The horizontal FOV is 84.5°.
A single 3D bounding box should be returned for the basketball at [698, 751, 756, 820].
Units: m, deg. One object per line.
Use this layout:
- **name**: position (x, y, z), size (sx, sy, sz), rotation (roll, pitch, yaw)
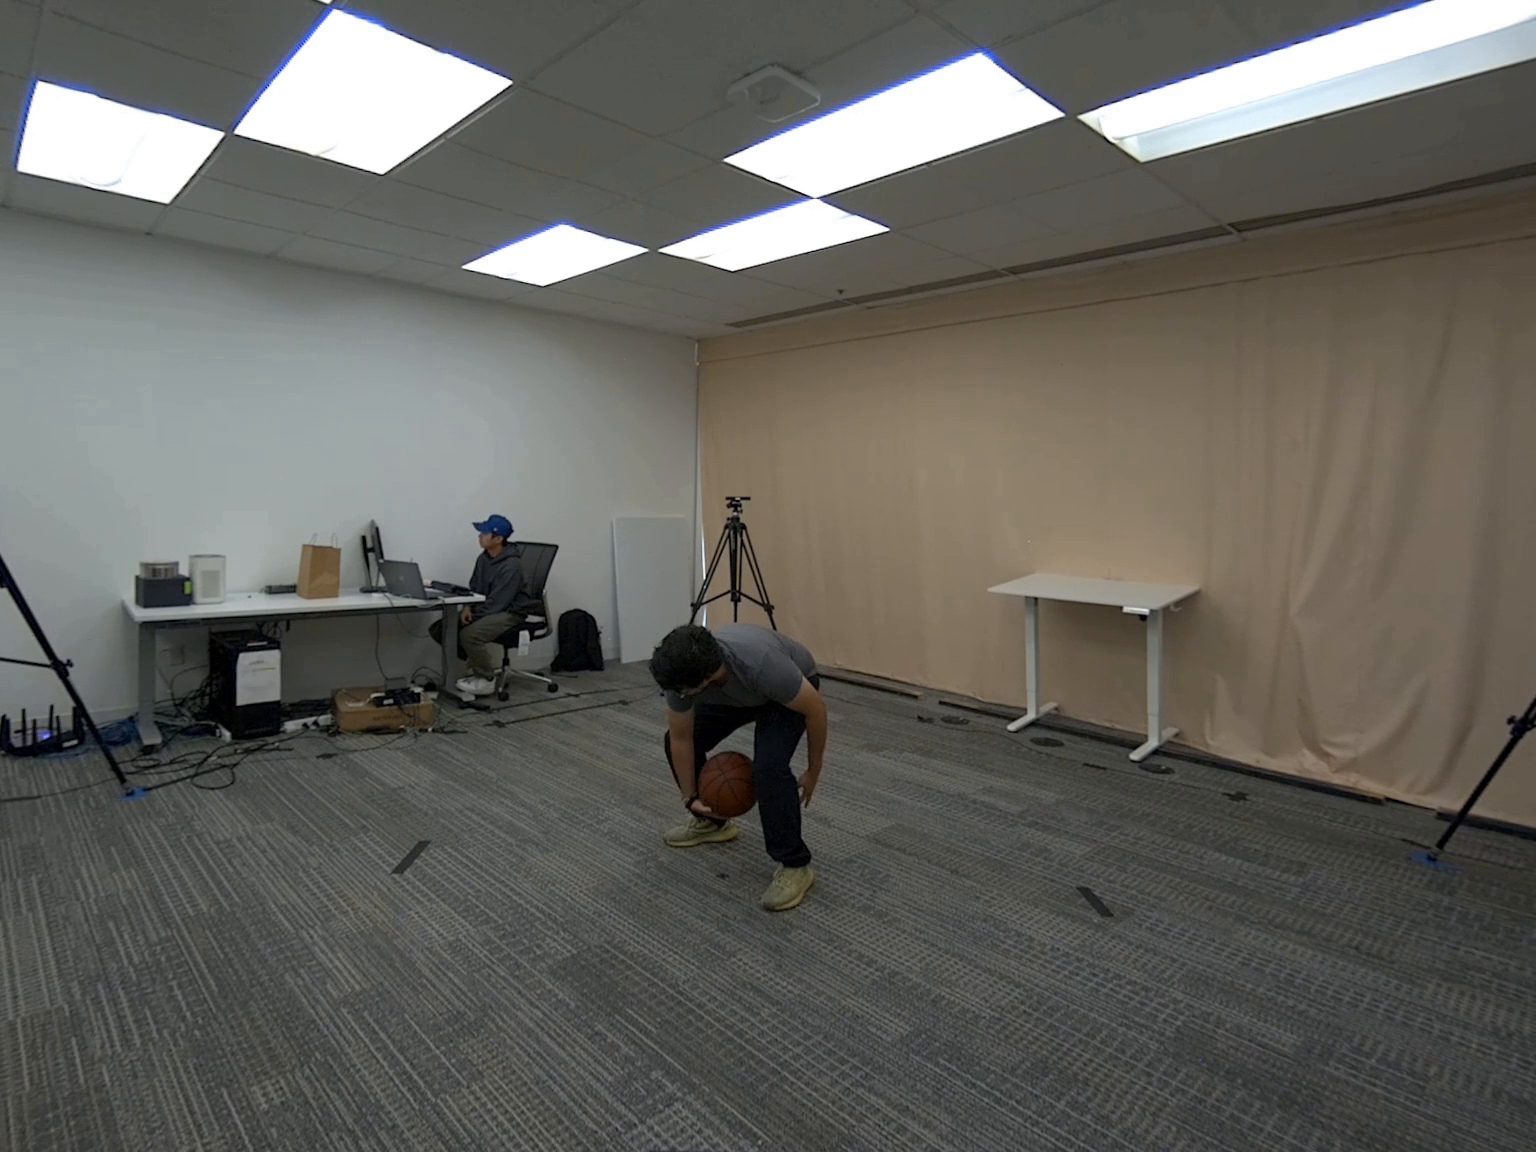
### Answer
- **basketball**: position (-0.145, 0.771, 3.146), size (0.236, 0.235, 0.237), rotation (1, 4, -1)
